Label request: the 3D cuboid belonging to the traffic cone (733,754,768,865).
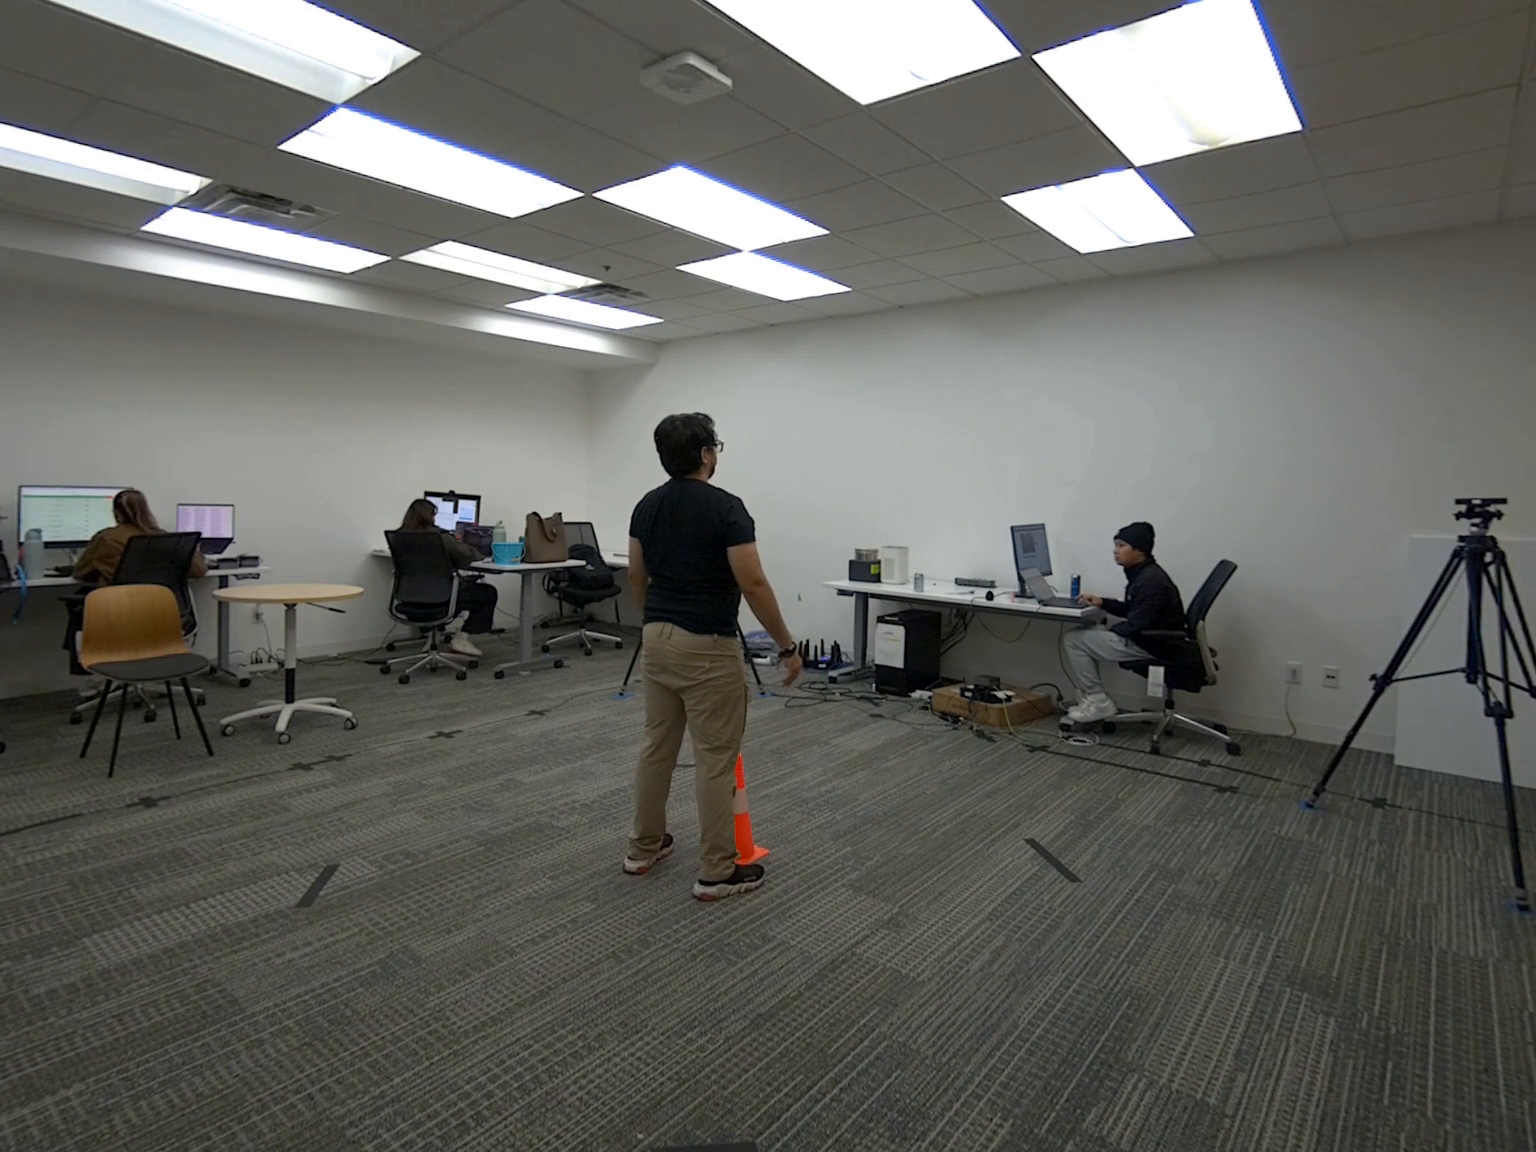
[{"bbox_3d":[-0.138,0.871,3.255,0.212,0.383,0.197,3,3,43],"label":"traffic cone"}]
